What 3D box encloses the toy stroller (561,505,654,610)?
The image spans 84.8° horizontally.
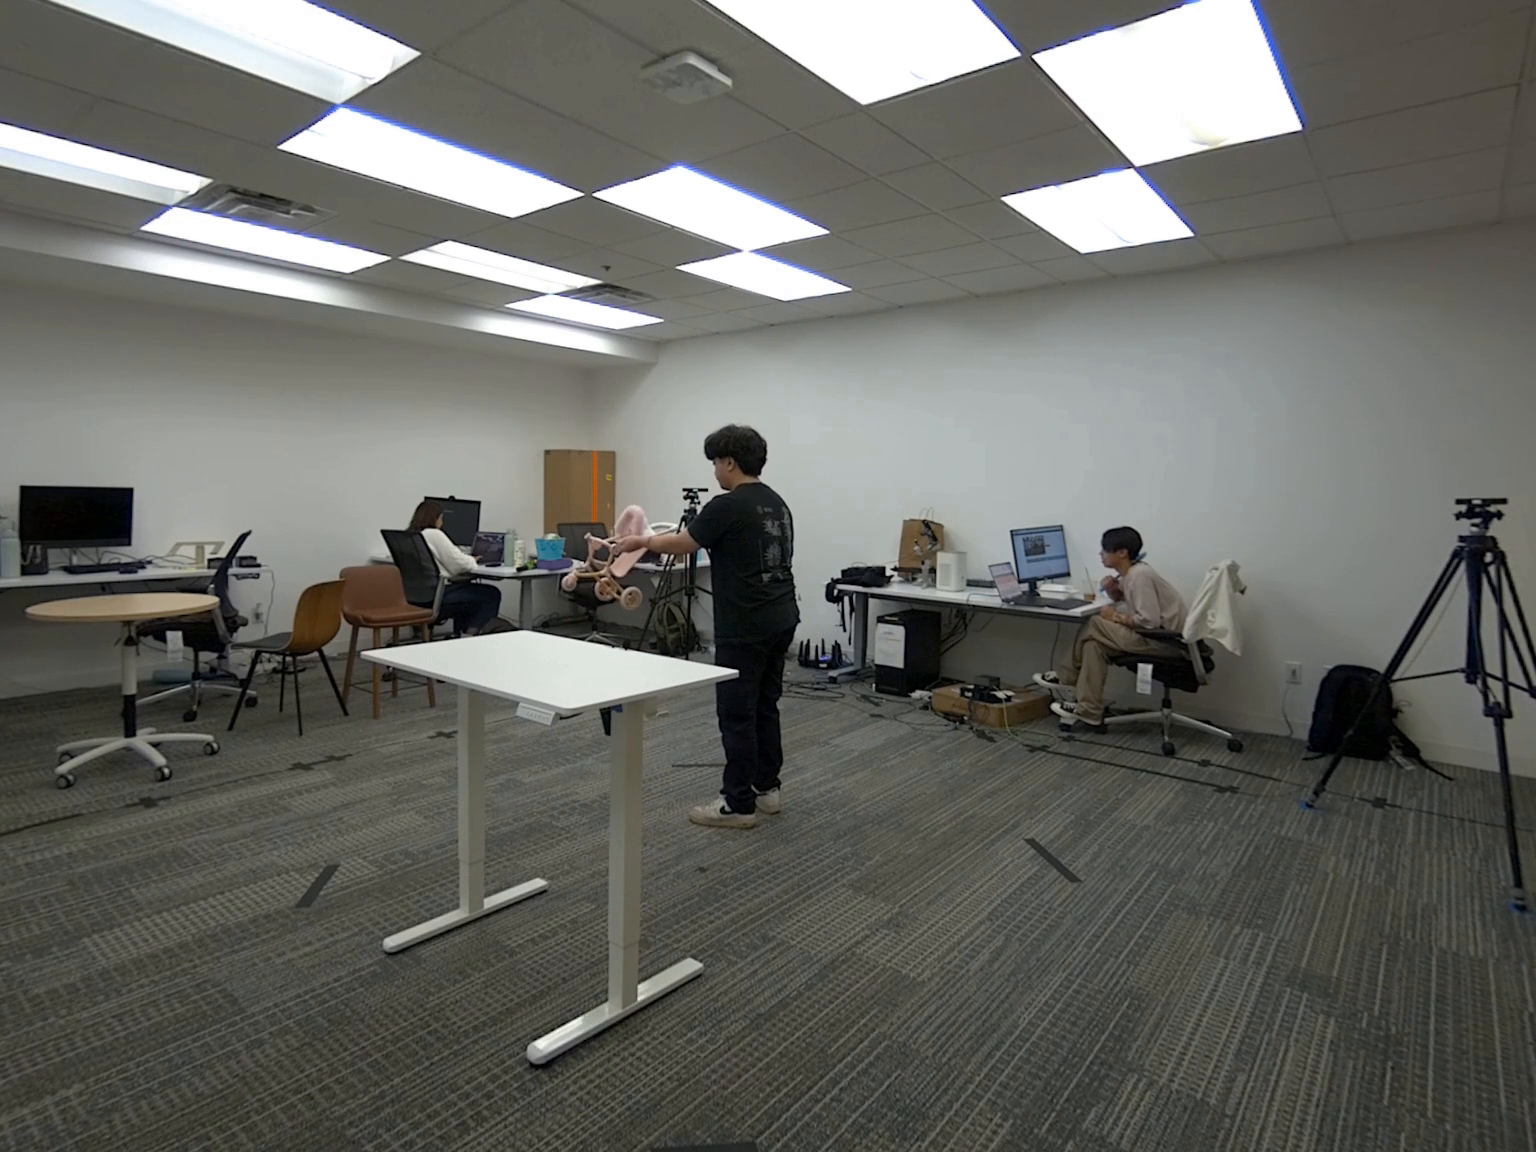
[{"bbox_3d":[-0.707,-0.098,3.925,0.329,0.537,0.291,35,-12,-30],"label":"toy stroller"}]
